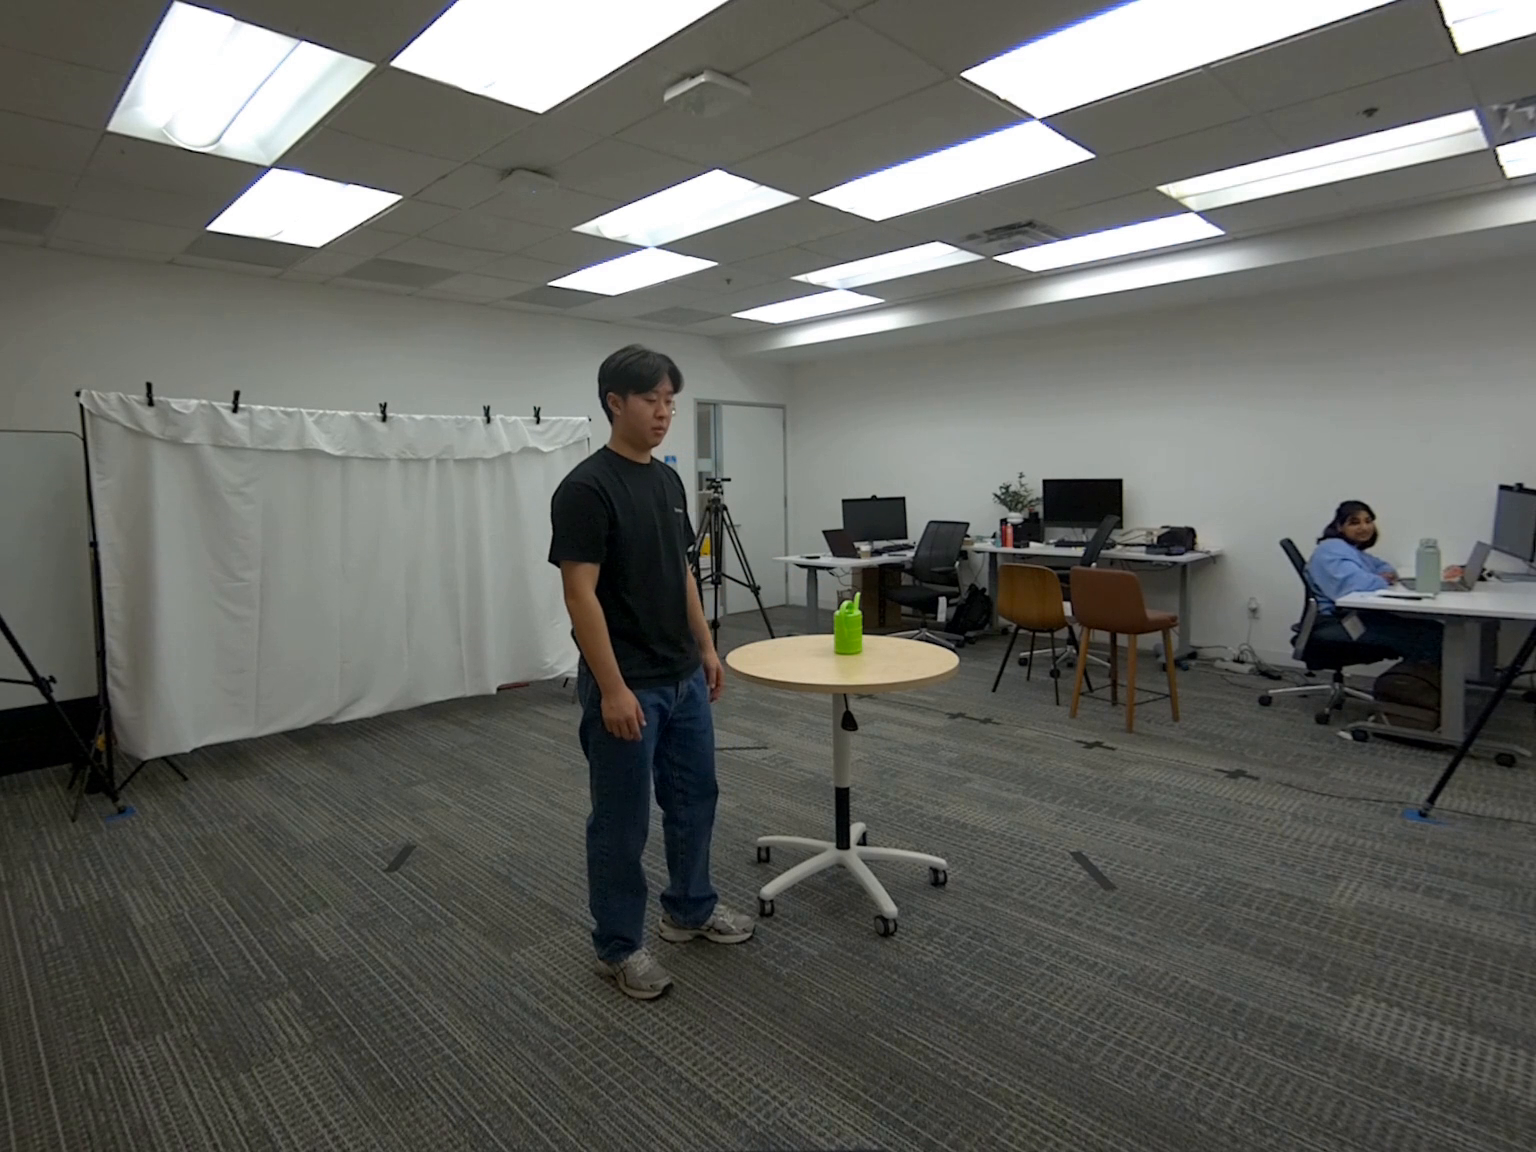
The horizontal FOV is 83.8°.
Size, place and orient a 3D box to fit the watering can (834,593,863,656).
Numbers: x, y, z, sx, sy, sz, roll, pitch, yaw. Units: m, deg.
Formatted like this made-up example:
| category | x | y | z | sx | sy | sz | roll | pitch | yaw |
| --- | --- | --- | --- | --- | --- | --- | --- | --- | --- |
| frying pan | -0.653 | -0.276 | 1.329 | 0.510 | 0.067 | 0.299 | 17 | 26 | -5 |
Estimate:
| category | x | y | z | sx | sy | sz | roll | pitch | yaw |
| --- | --- | --- | --- | --- | --- | --- | --- | --- | --- |
| watering can | 0.295 | 0.165 | 2.966 | 0.100 | 0.175 | 0.273 | 3 | 10 | 26 |
